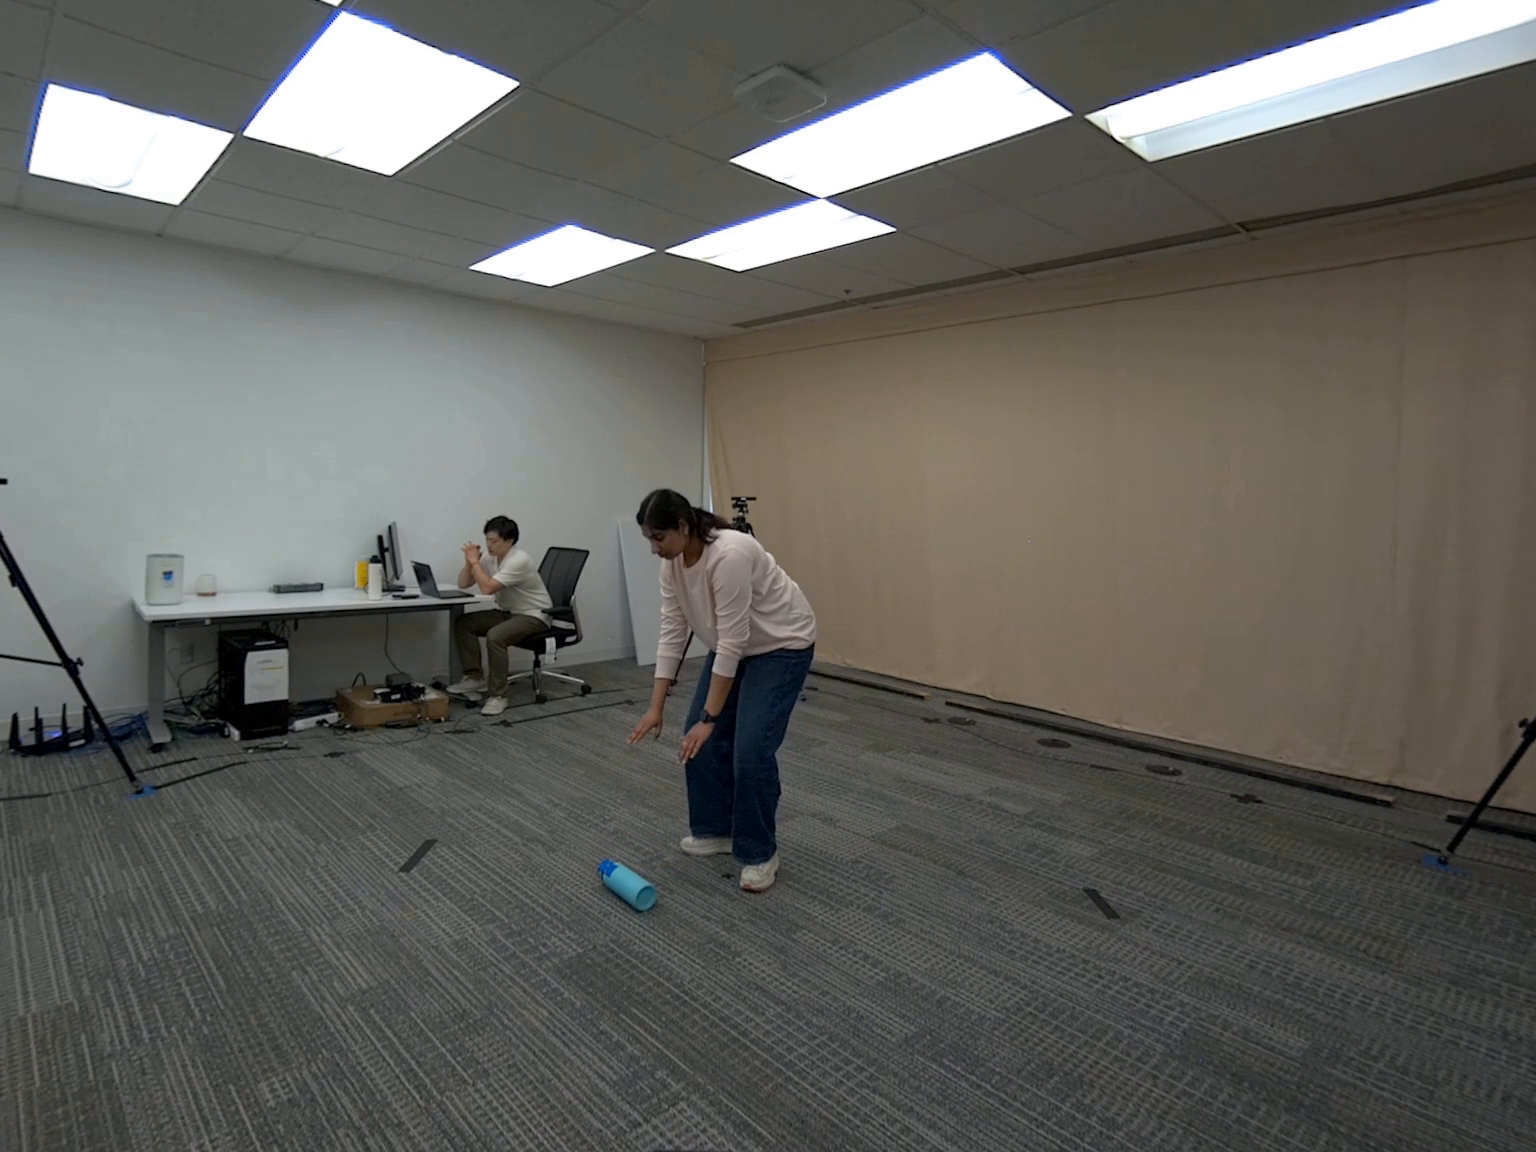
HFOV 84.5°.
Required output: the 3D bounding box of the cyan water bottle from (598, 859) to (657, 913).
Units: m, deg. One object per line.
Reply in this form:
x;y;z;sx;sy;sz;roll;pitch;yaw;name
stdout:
-0.504;1.066;2.928;0.090;0.092;0.291;-2;6;-39;cyan water bottle
